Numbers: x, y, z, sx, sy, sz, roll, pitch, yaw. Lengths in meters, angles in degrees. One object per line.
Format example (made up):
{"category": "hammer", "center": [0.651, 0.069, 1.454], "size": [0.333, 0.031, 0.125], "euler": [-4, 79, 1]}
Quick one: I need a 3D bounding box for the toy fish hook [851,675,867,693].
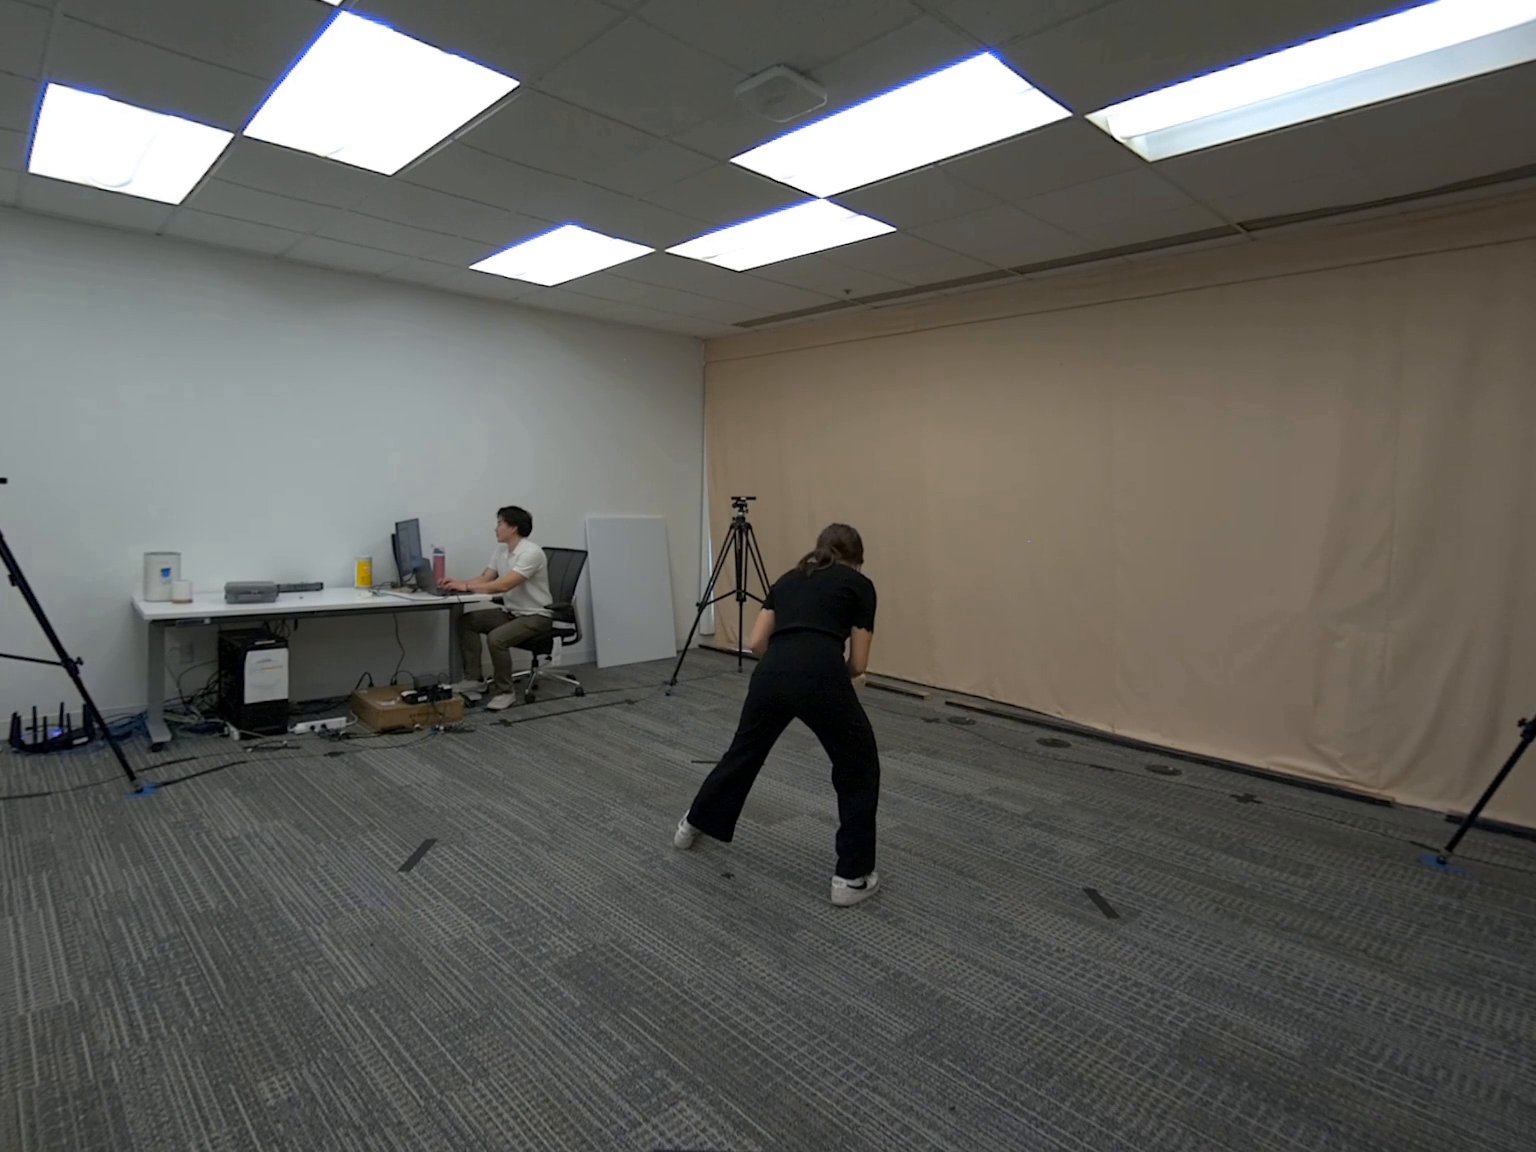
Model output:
{"category": "toy fish hook", "center": [0.231, 0.470, 3.418], "size": [0.049, 0.224, 0.493], "euler": [51, 18, 29]}
